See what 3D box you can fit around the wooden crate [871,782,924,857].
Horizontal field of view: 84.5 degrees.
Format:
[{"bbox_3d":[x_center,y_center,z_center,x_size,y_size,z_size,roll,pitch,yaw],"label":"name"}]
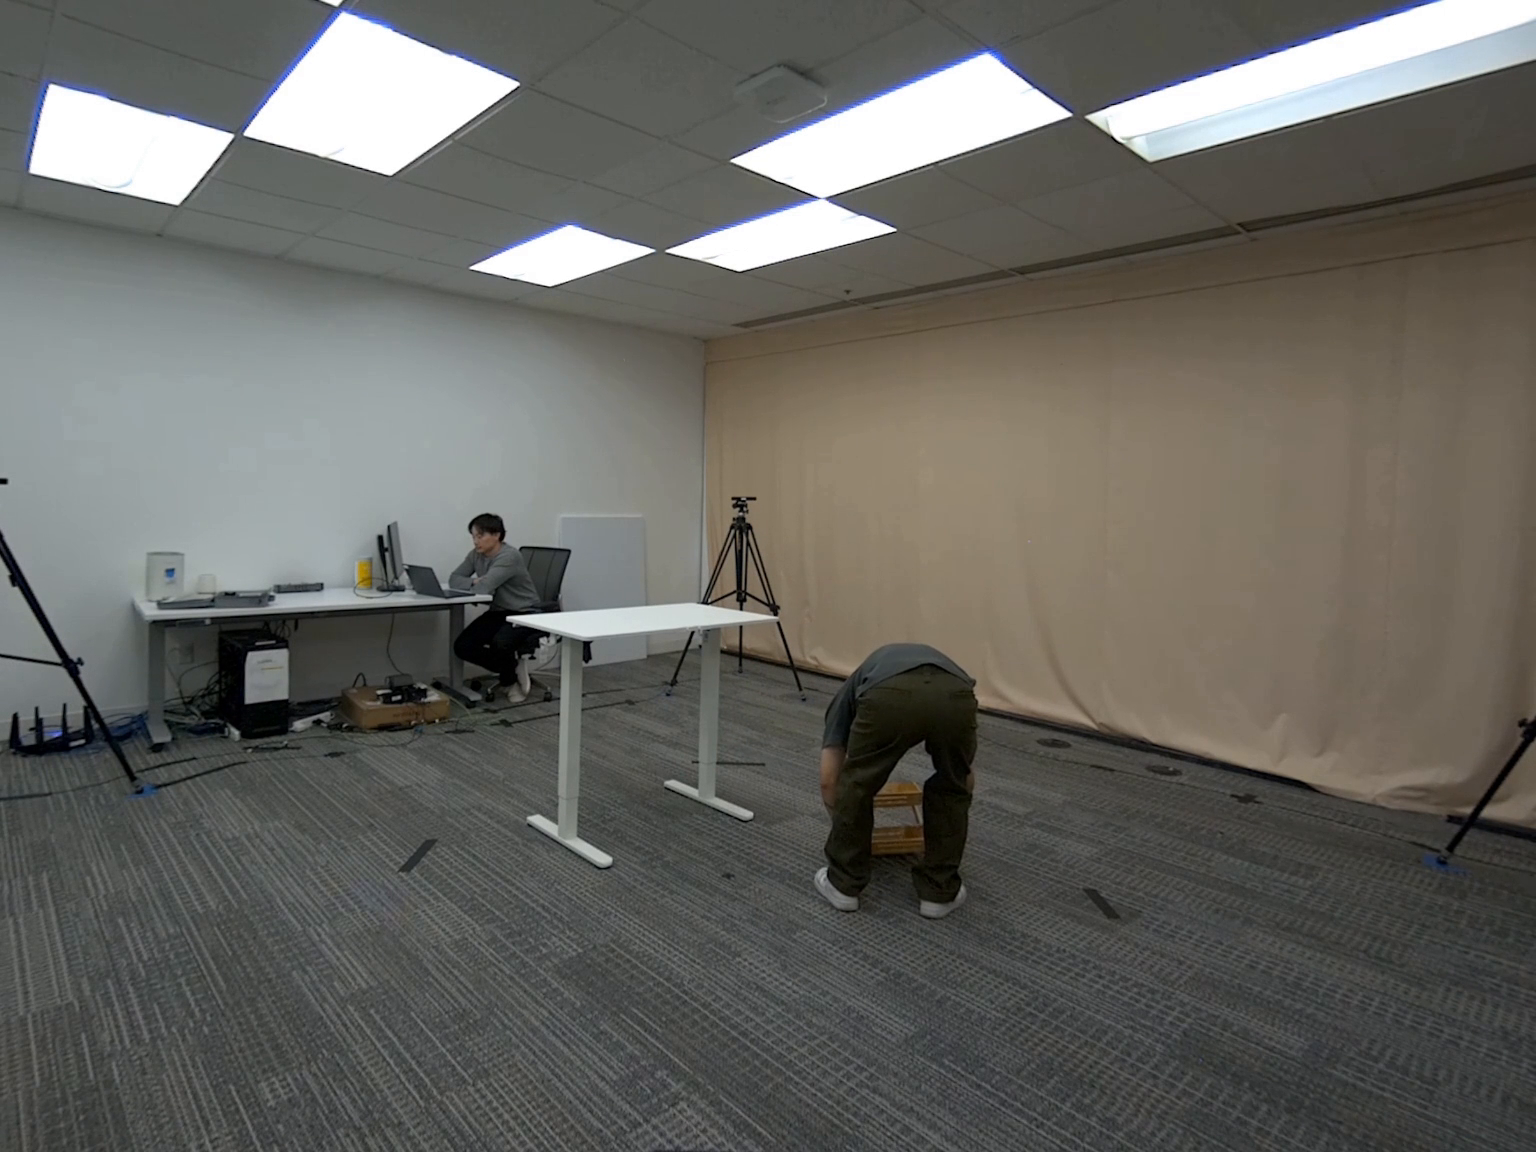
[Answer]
[{"bbox_3d":[0.451,0.954,3.328,0.321,0.277,0.301,-1,-16,-15],"label":"wooden crate"}]
